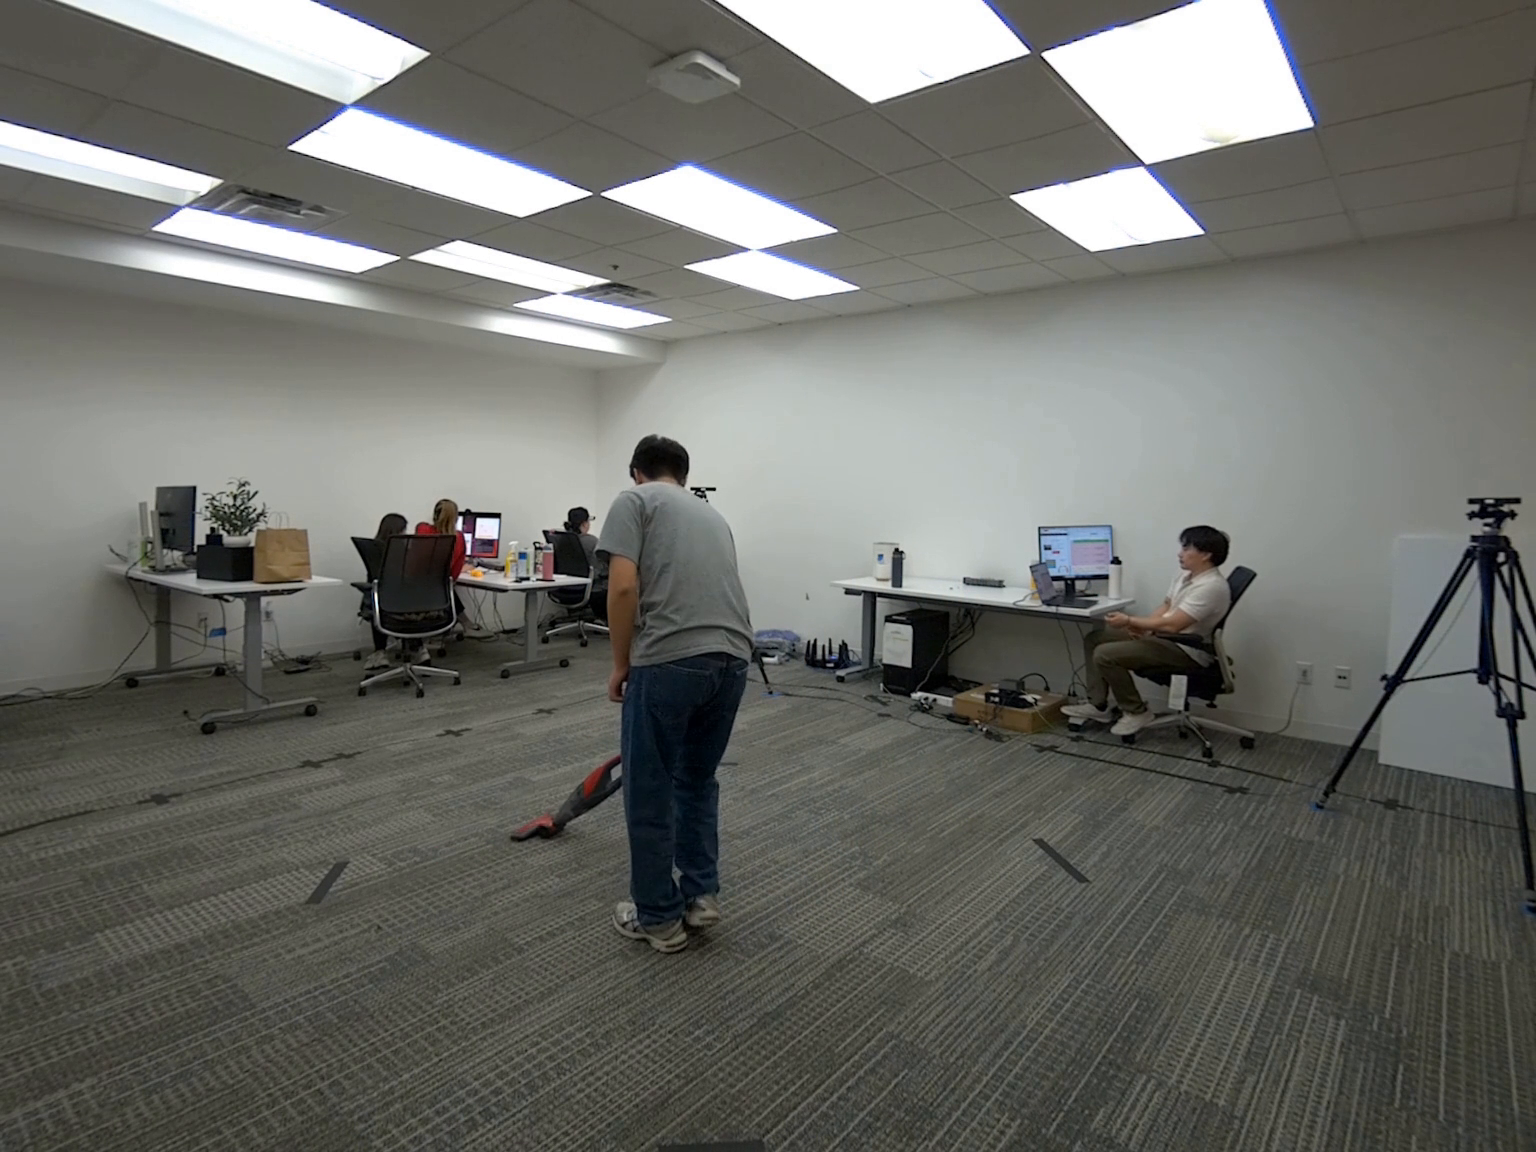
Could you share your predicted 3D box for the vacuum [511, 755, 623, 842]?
[{"bbox_3d":[-0.540,0.719,3.246,1.054,0.146,0.248,-37,-7,19],"label":"vacuum"}]
